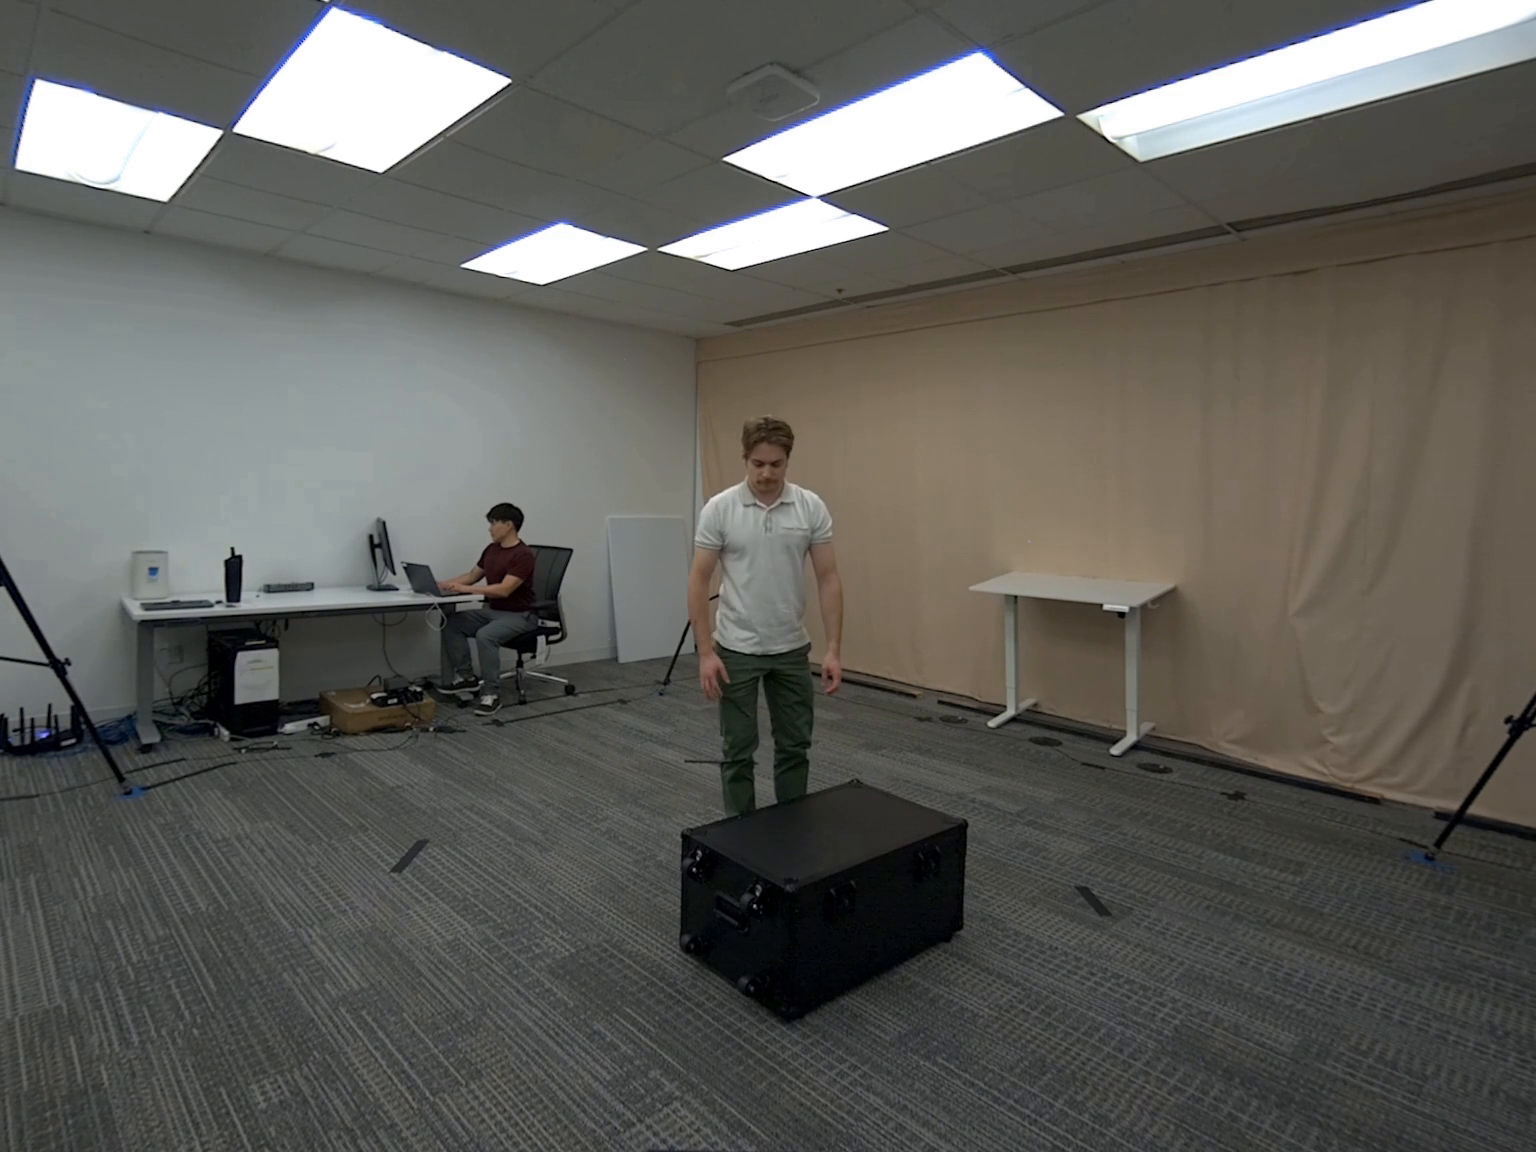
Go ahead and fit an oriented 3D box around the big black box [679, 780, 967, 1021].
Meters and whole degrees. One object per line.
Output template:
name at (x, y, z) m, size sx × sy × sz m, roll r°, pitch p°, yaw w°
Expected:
big black box at (0.149, 0.958, 2.609) m, size 0.849 × 0.384 × 0.537 m, roll -3°, pitch 8°, yaw -41°
